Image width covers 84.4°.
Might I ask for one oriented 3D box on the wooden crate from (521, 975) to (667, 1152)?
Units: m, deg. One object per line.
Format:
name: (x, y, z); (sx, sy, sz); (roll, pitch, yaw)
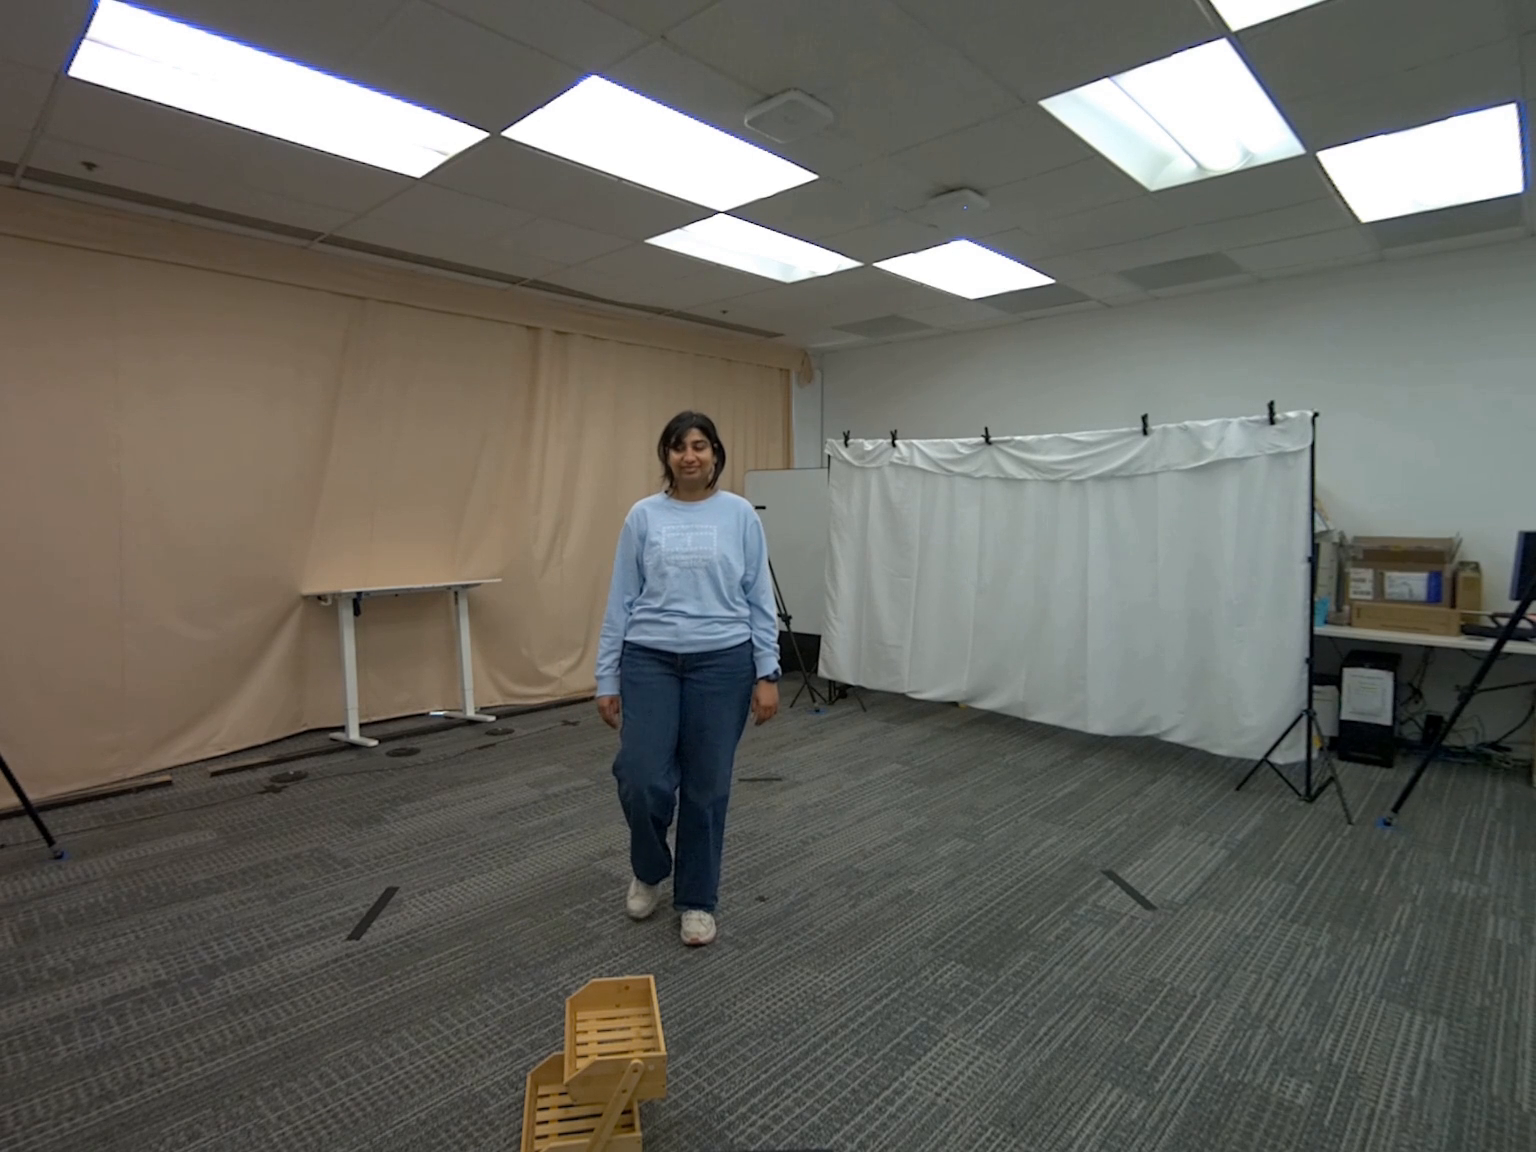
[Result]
wooden crate: (-0.397, 1.103, 1.868); (0.298, 0.273, 0.329); (0, 4, -12)
